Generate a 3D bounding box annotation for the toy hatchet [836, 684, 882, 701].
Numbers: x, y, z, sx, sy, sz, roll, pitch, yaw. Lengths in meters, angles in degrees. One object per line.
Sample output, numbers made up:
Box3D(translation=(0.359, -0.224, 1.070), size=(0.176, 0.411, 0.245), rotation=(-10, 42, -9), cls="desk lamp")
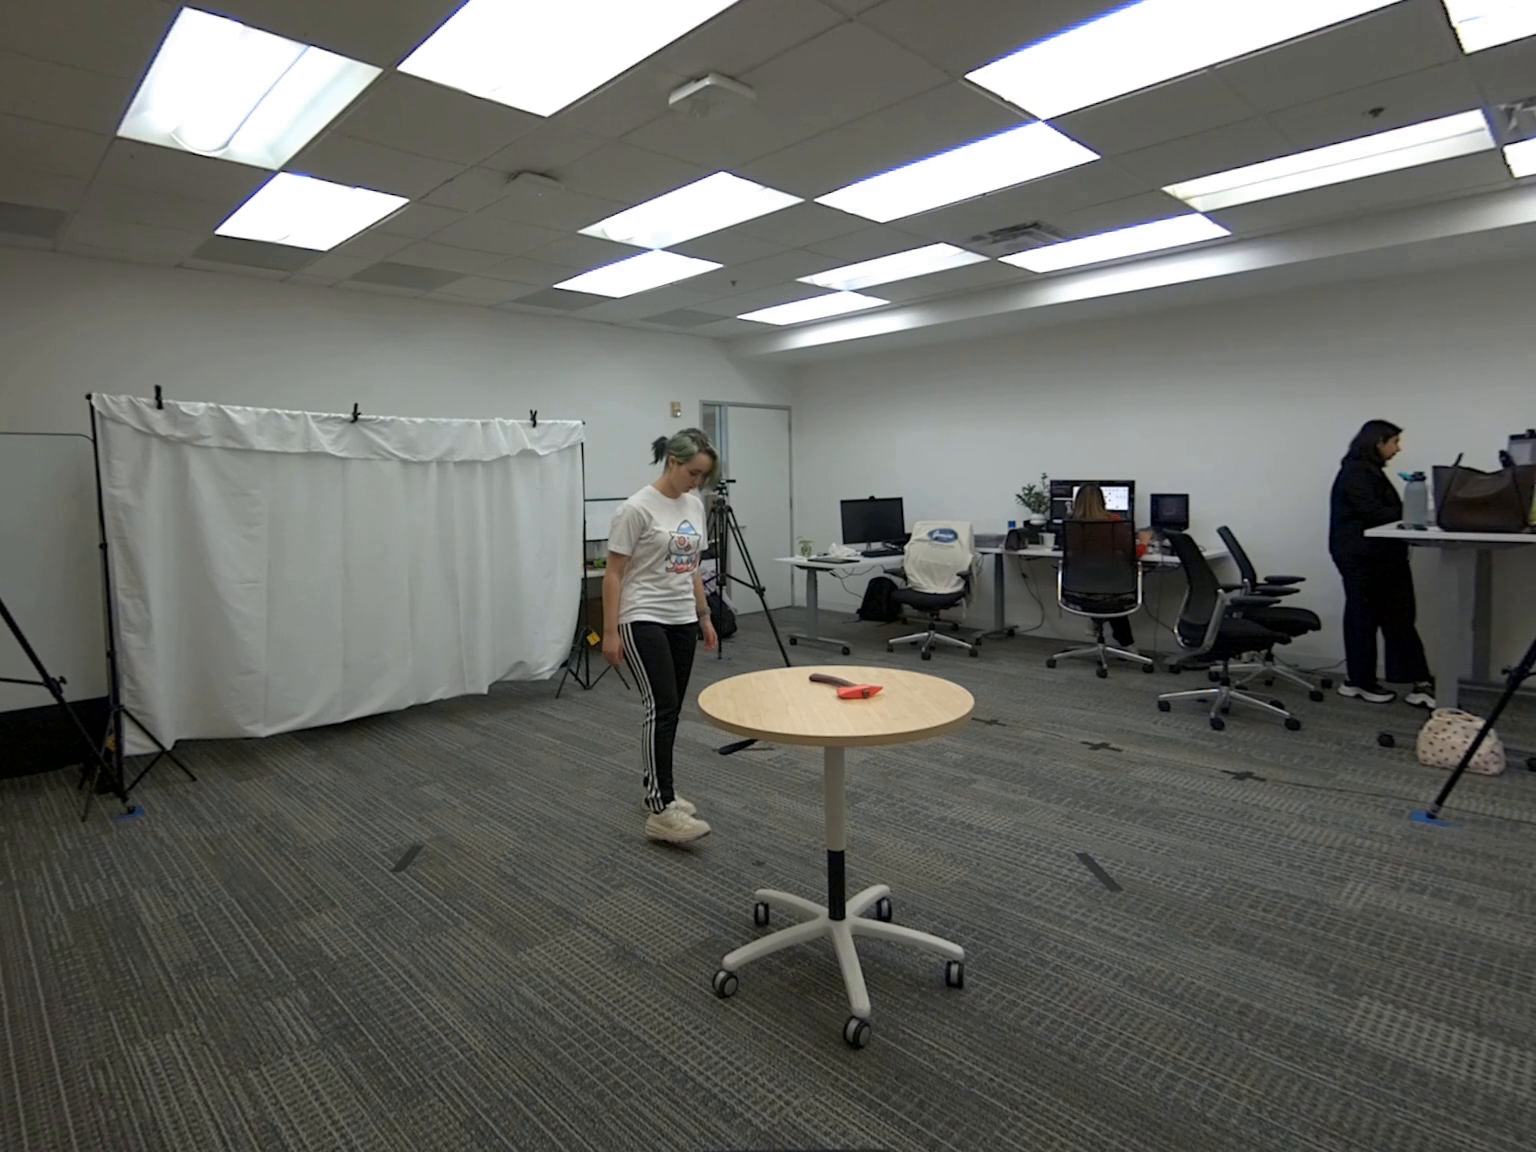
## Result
Box3D(translation=(0.193, 0.316, 2.480), size=(0.128, 0.029, 0.278), rotation=(-13, 10, -38), cls="toy hatchet")
